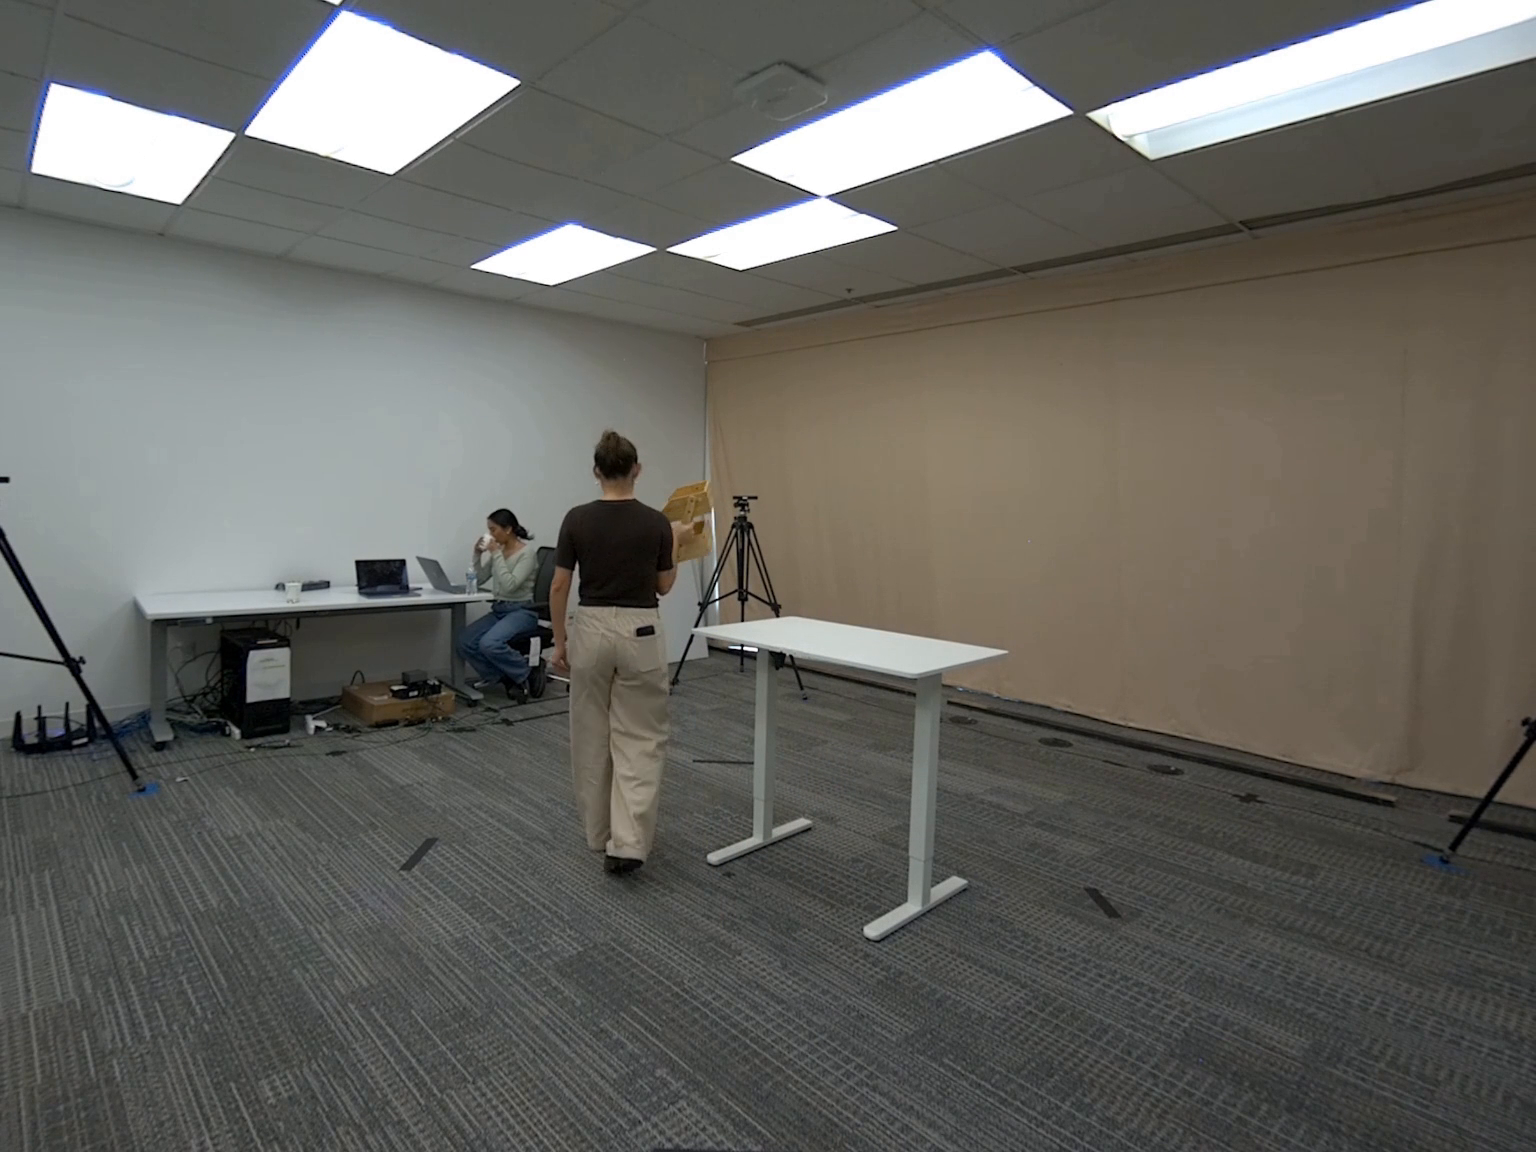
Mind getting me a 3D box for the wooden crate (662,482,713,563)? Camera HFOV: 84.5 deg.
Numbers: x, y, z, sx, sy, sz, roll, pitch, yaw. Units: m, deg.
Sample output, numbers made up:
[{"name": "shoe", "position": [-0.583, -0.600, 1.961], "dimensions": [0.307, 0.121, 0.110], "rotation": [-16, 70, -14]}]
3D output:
[{"name": "wooden crate", "position": [-0.381, -0.230, 3.571], "dimensions": [0.303, 0.270, 0.327], "rotation": [-13, 14, 5]}]
